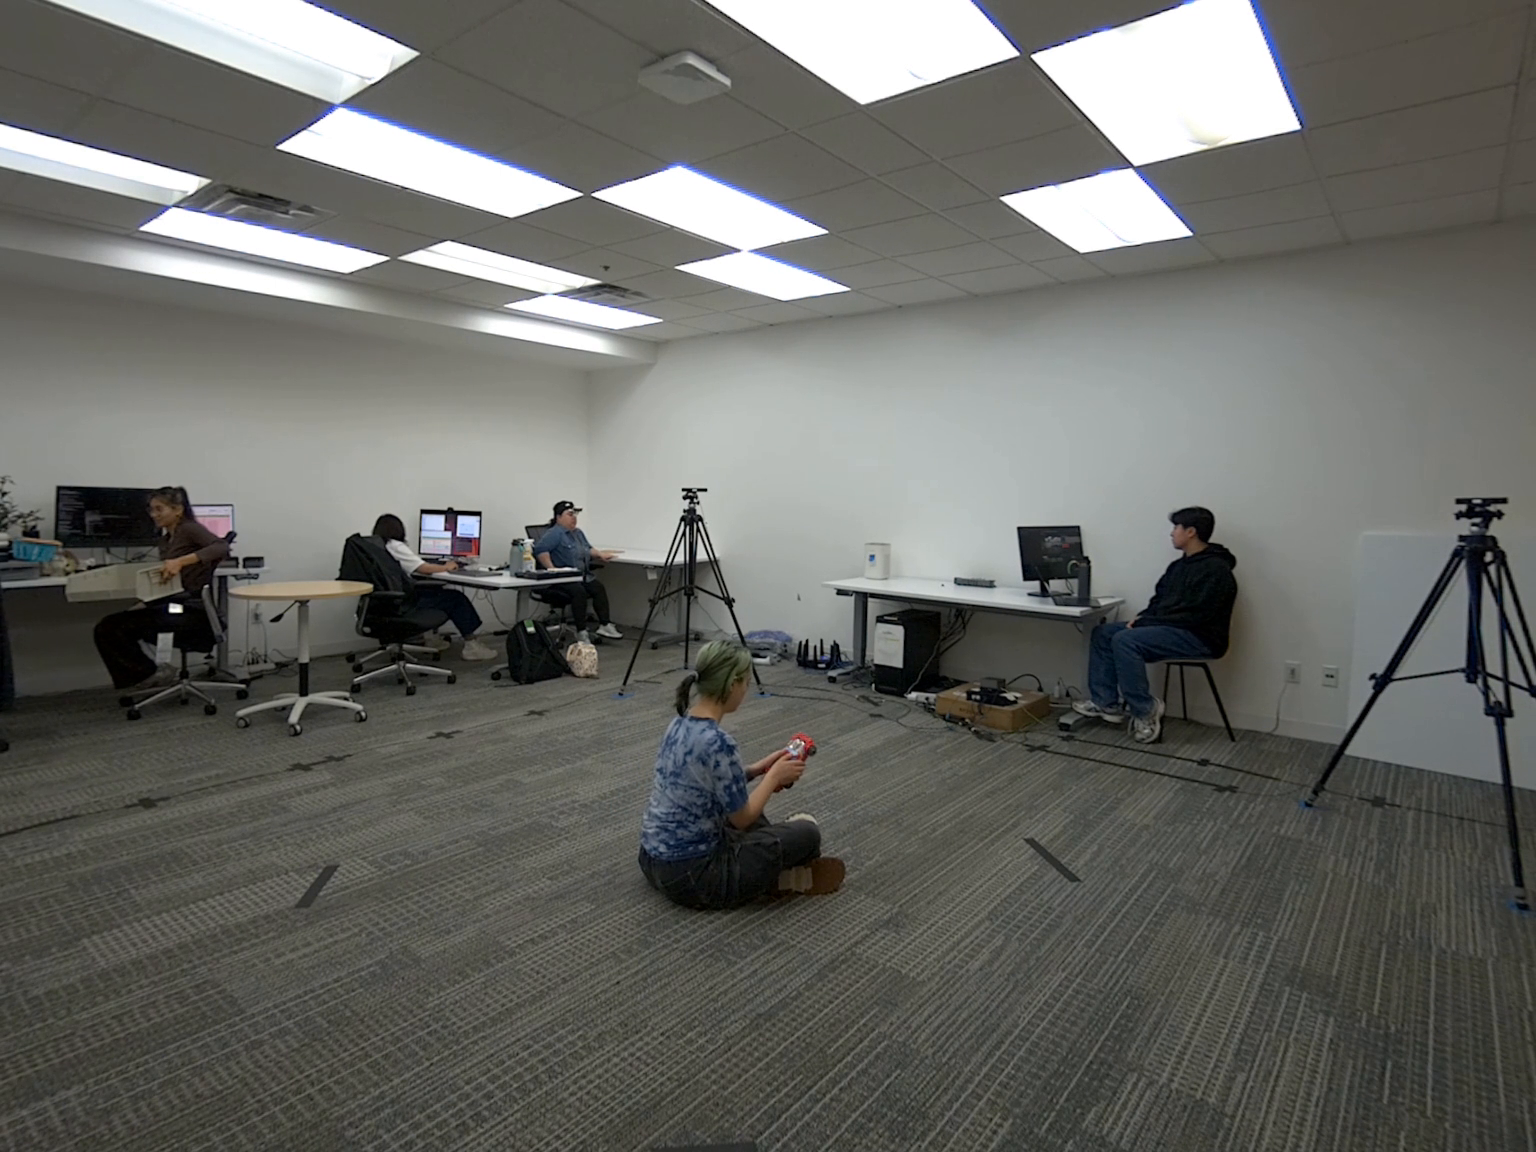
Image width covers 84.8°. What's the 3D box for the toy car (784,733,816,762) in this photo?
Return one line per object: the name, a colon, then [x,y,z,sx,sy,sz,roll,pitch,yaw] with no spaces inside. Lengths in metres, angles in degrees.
toy car: [0.064,0.710,3.162,0.253,0.080,0.135,-41,28,-19]
